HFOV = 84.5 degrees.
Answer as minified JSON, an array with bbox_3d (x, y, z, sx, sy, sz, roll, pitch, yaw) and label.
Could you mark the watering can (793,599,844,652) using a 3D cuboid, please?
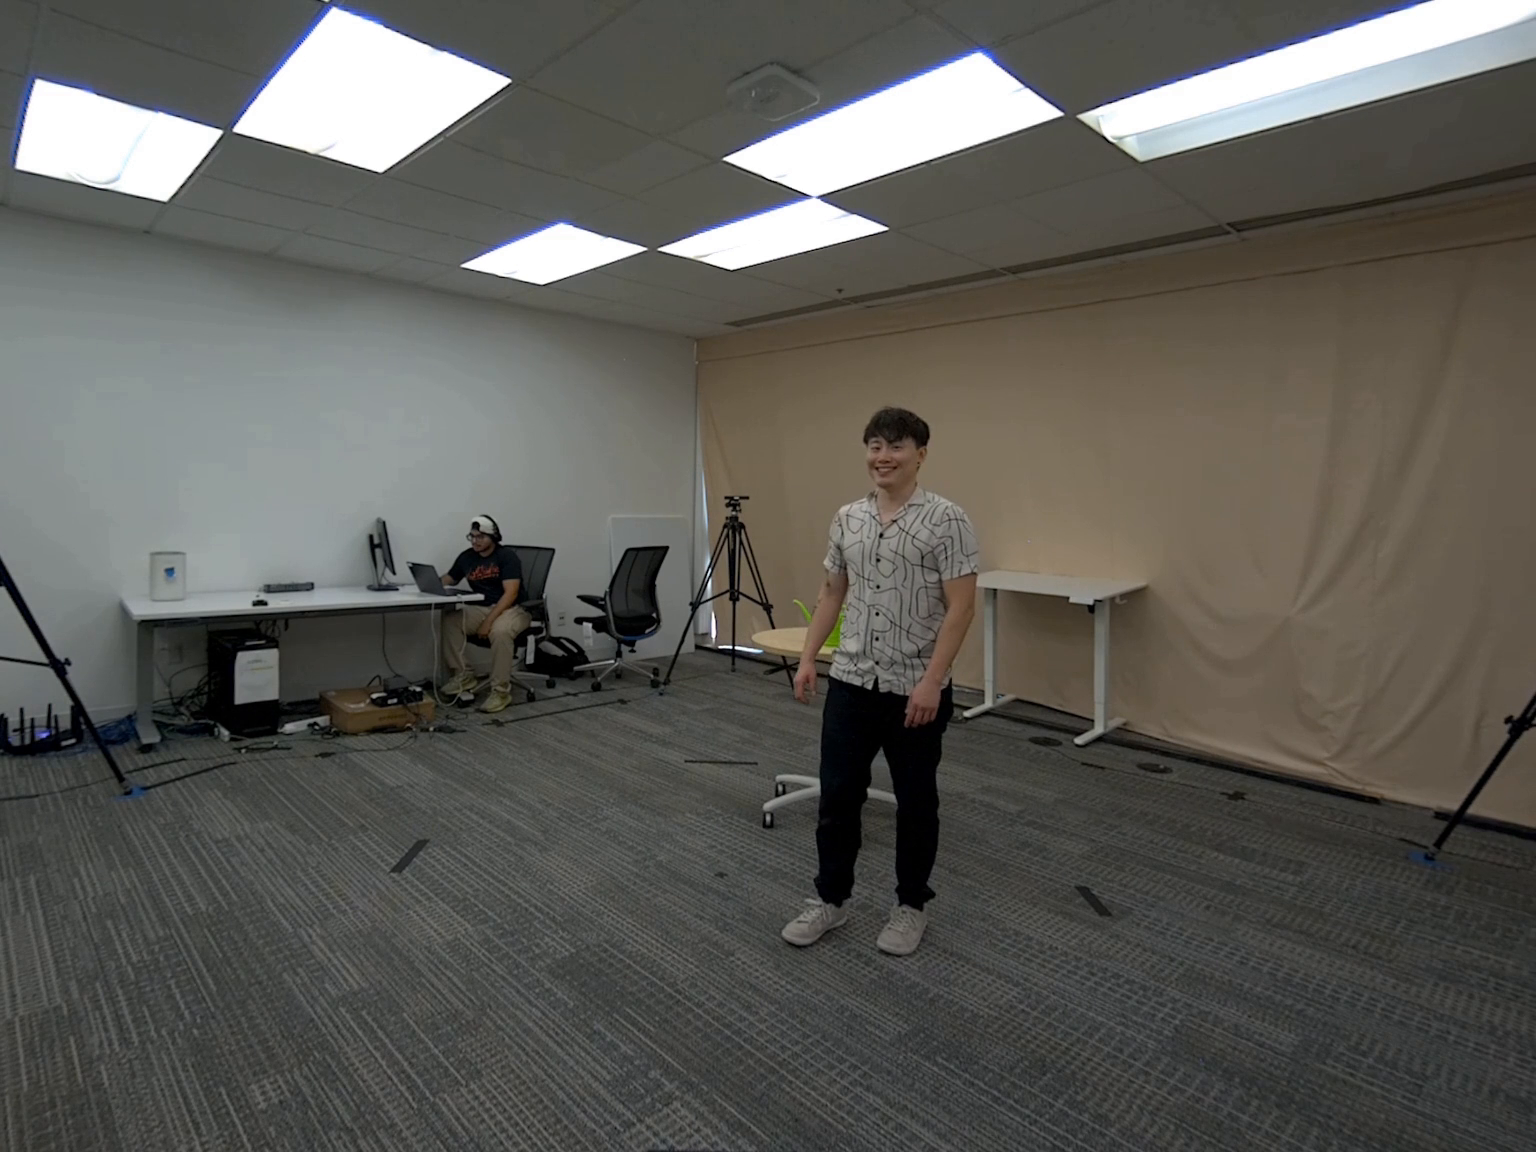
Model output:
[{"bbox_3d":[0.241,0.203,3.583,0.285,0.176,0.096,6,4,38],"label":"watering can"}]
